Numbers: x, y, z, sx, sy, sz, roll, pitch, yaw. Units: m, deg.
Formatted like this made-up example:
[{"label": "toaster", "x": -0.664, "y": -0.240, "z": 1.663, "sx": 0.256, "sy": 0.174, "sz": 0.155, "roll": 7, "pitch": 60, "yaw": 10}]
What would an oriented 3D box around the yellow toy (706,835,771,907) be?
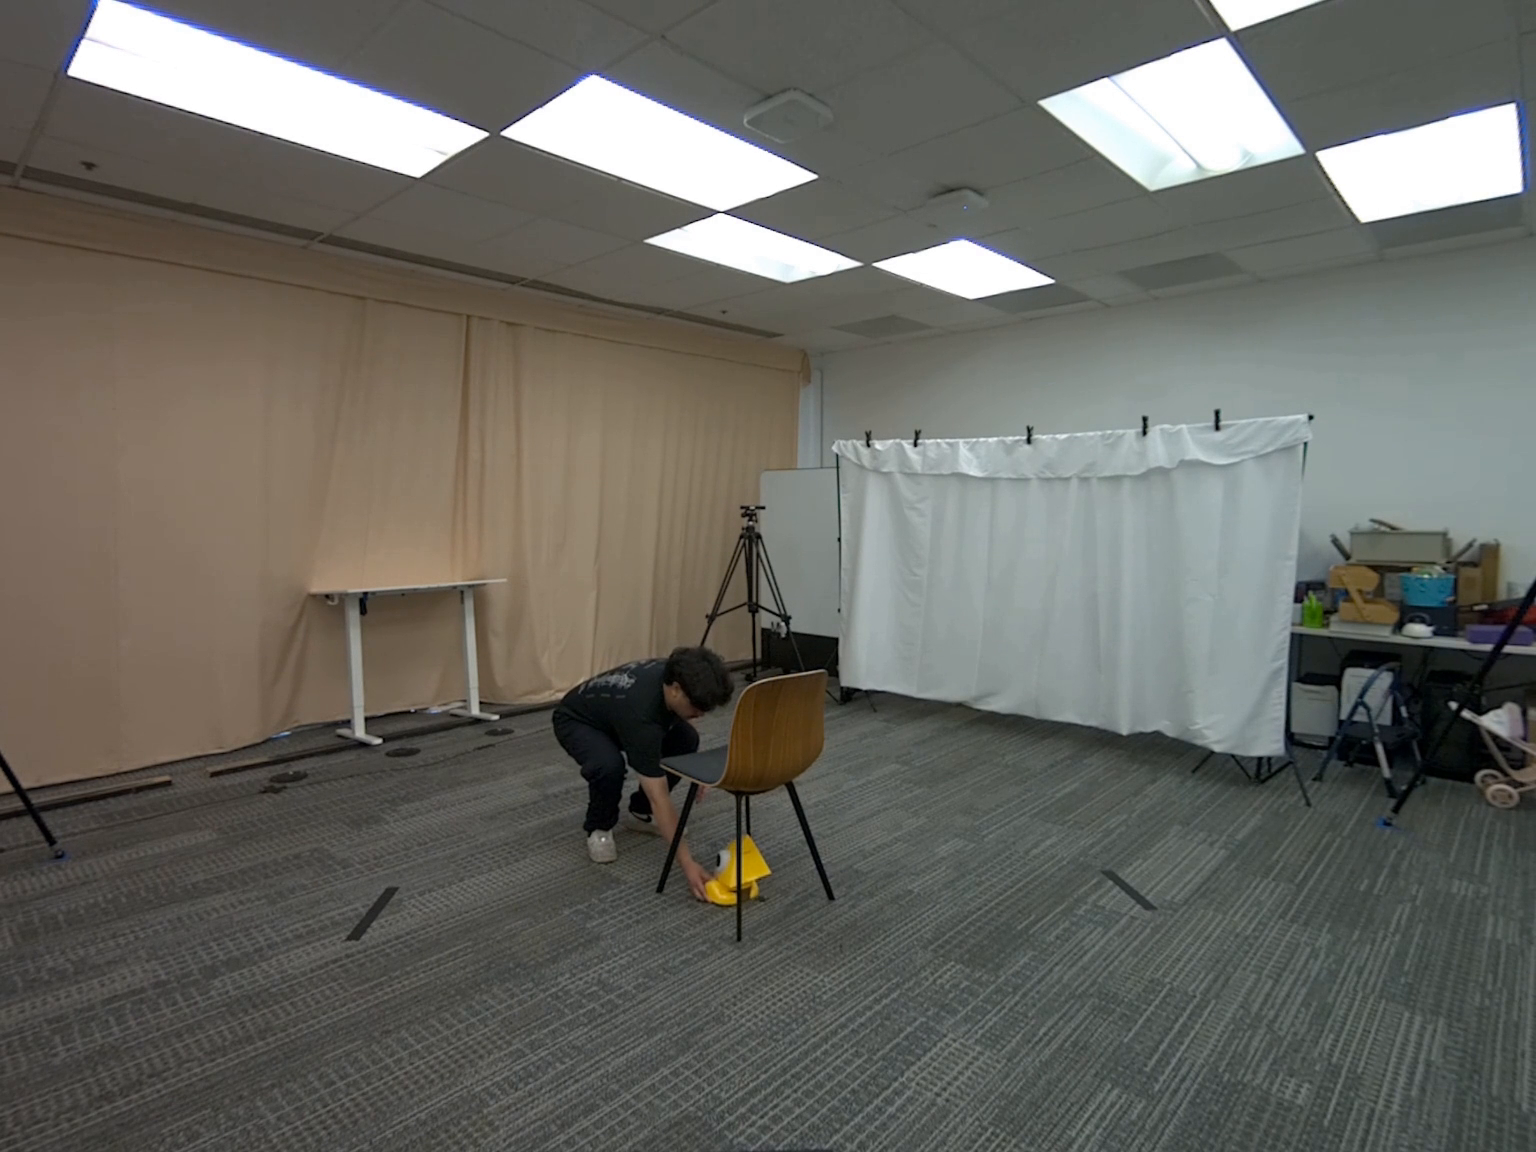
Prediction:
[{"label": "yellow toy", "x": -0.117, "y": 1.026, "z": 3.014, "sx": 0.198, "sy": 0.230, "sz": 0.200, "roll": 3, "pitch": 3, "yaw": -45}]
